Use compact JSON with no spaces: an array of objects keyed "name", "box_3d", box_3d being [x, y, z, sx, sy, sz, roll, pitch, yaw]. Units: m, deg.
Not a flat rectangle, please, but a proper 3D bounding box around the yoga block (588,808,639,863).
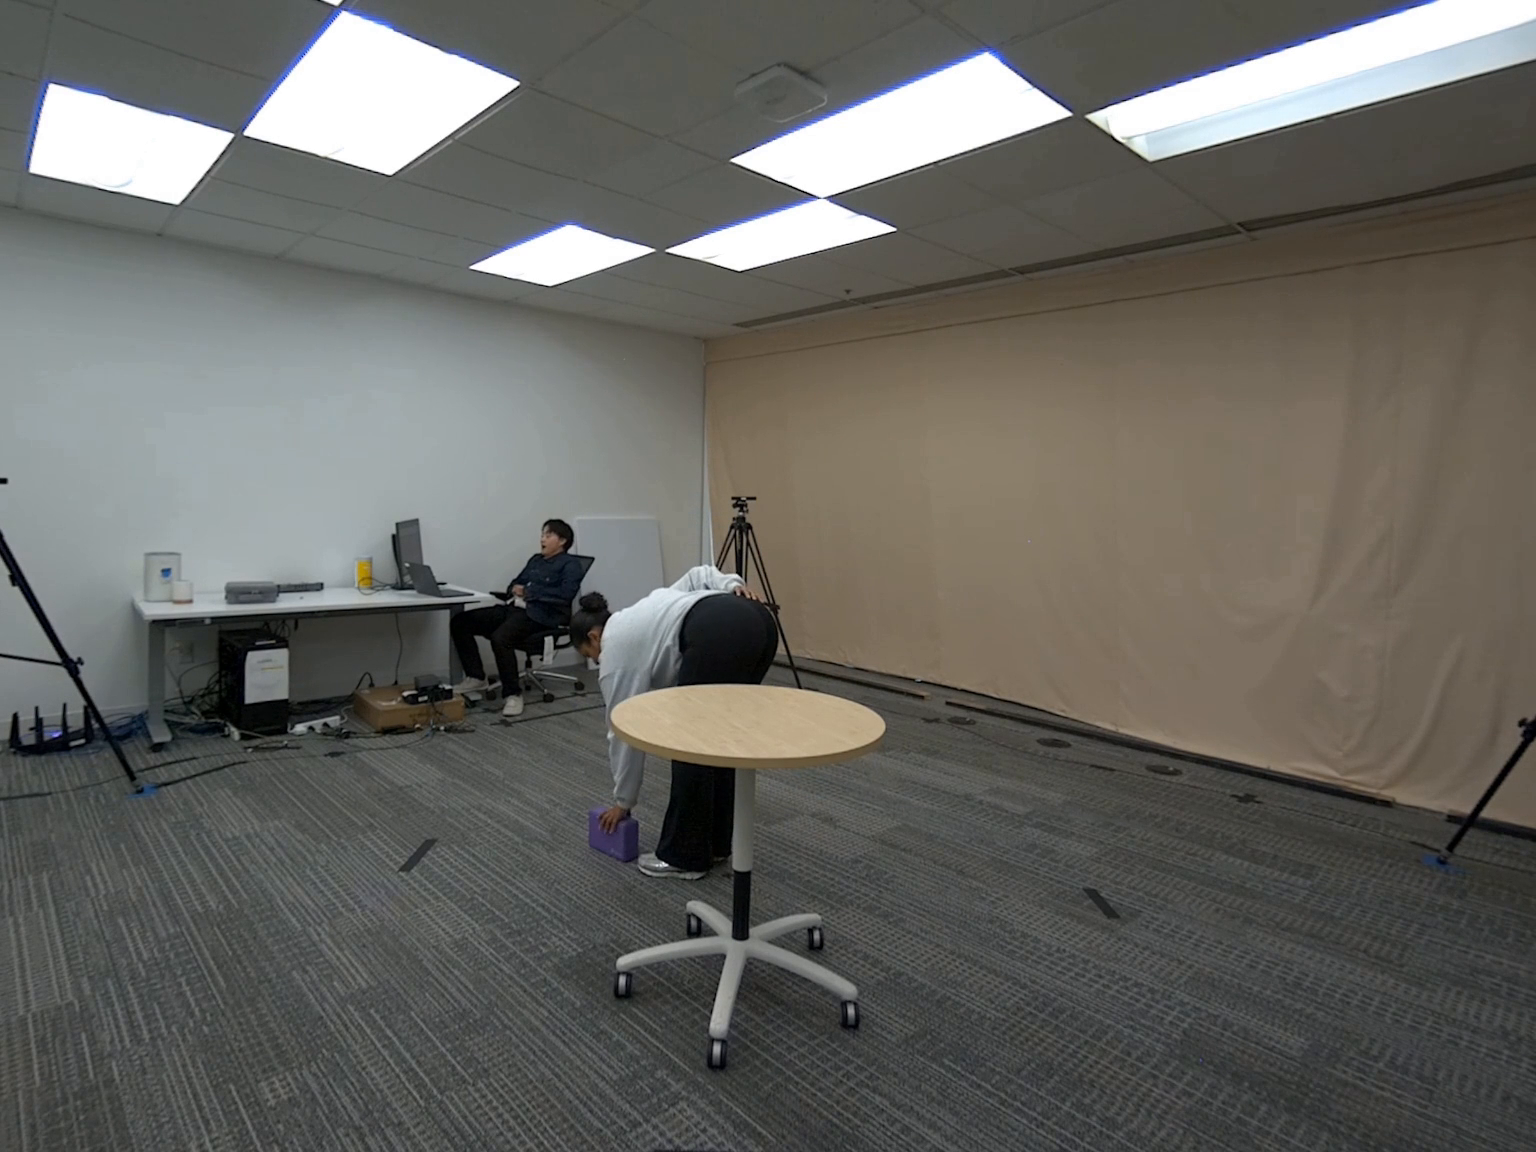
[{"name":"yoga block","box_3d":[-0.607,0.998,3.287,0.235,0.149,0.075,4,3,40]}]
